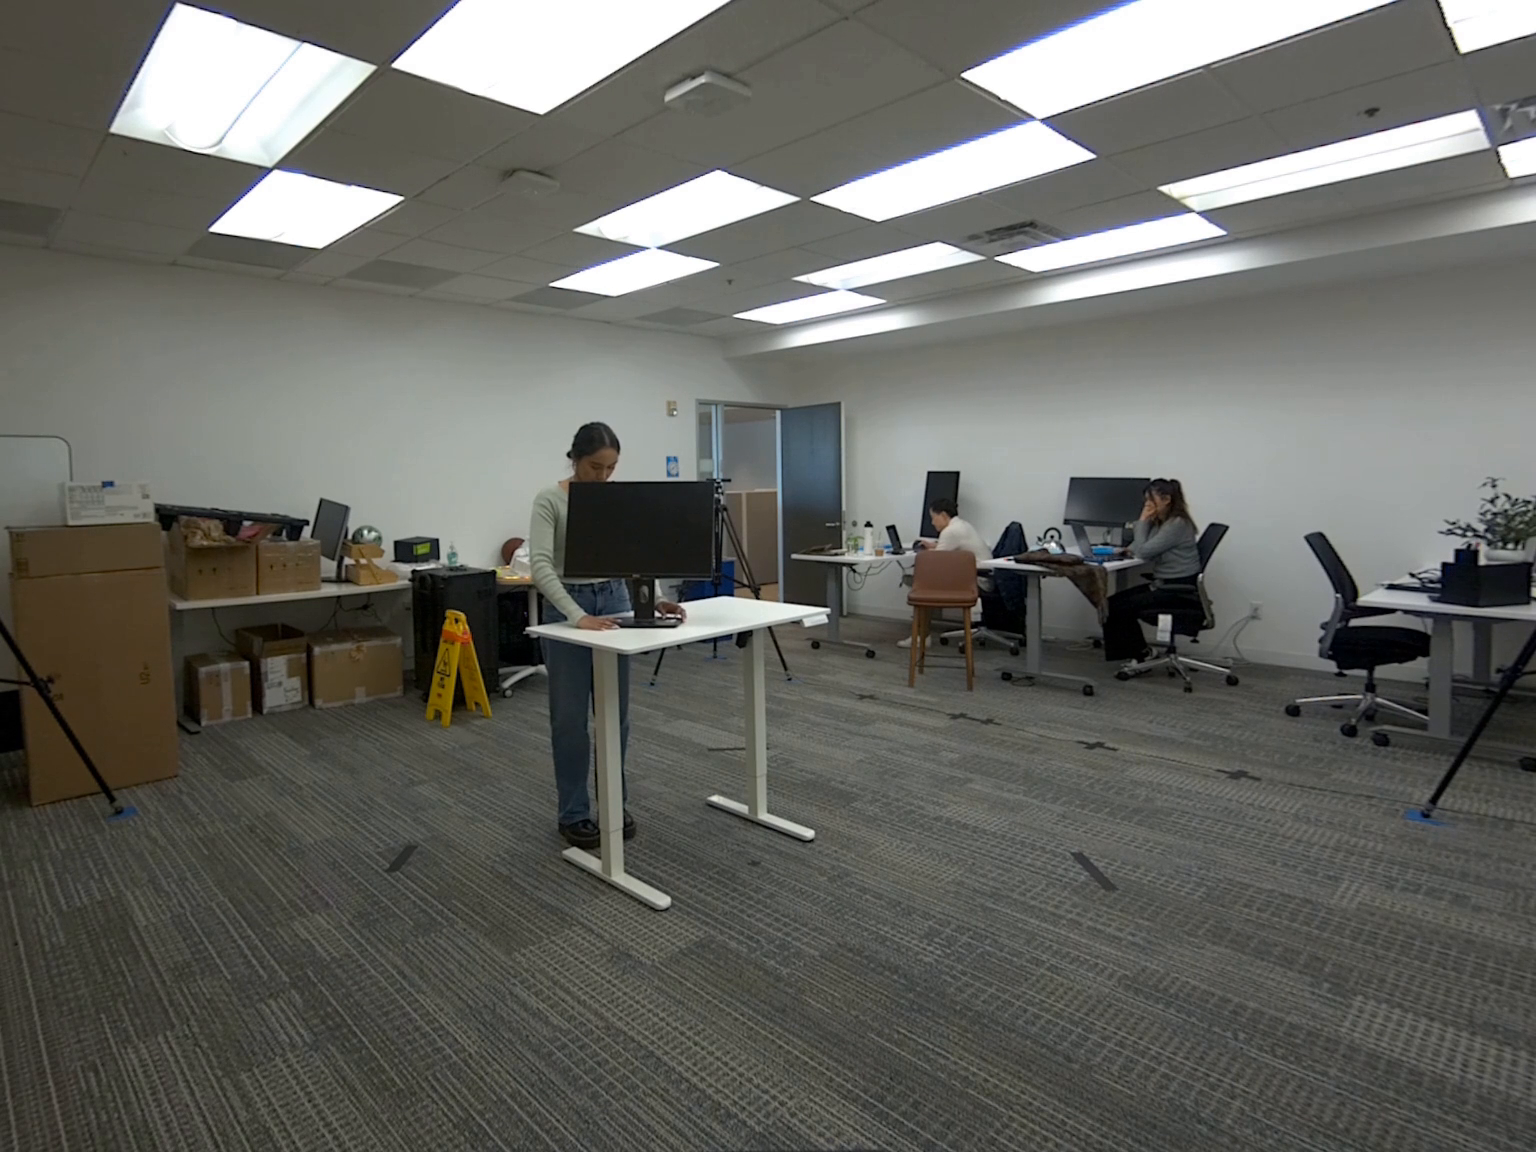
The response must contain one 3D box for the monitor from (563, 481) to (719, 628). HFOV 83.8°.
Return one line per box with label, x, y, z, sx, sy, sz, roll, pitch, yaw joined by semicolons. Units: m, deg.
monitor;-0.462;-0.079;3.067;0.533;0.512;0.175;1;7;5
